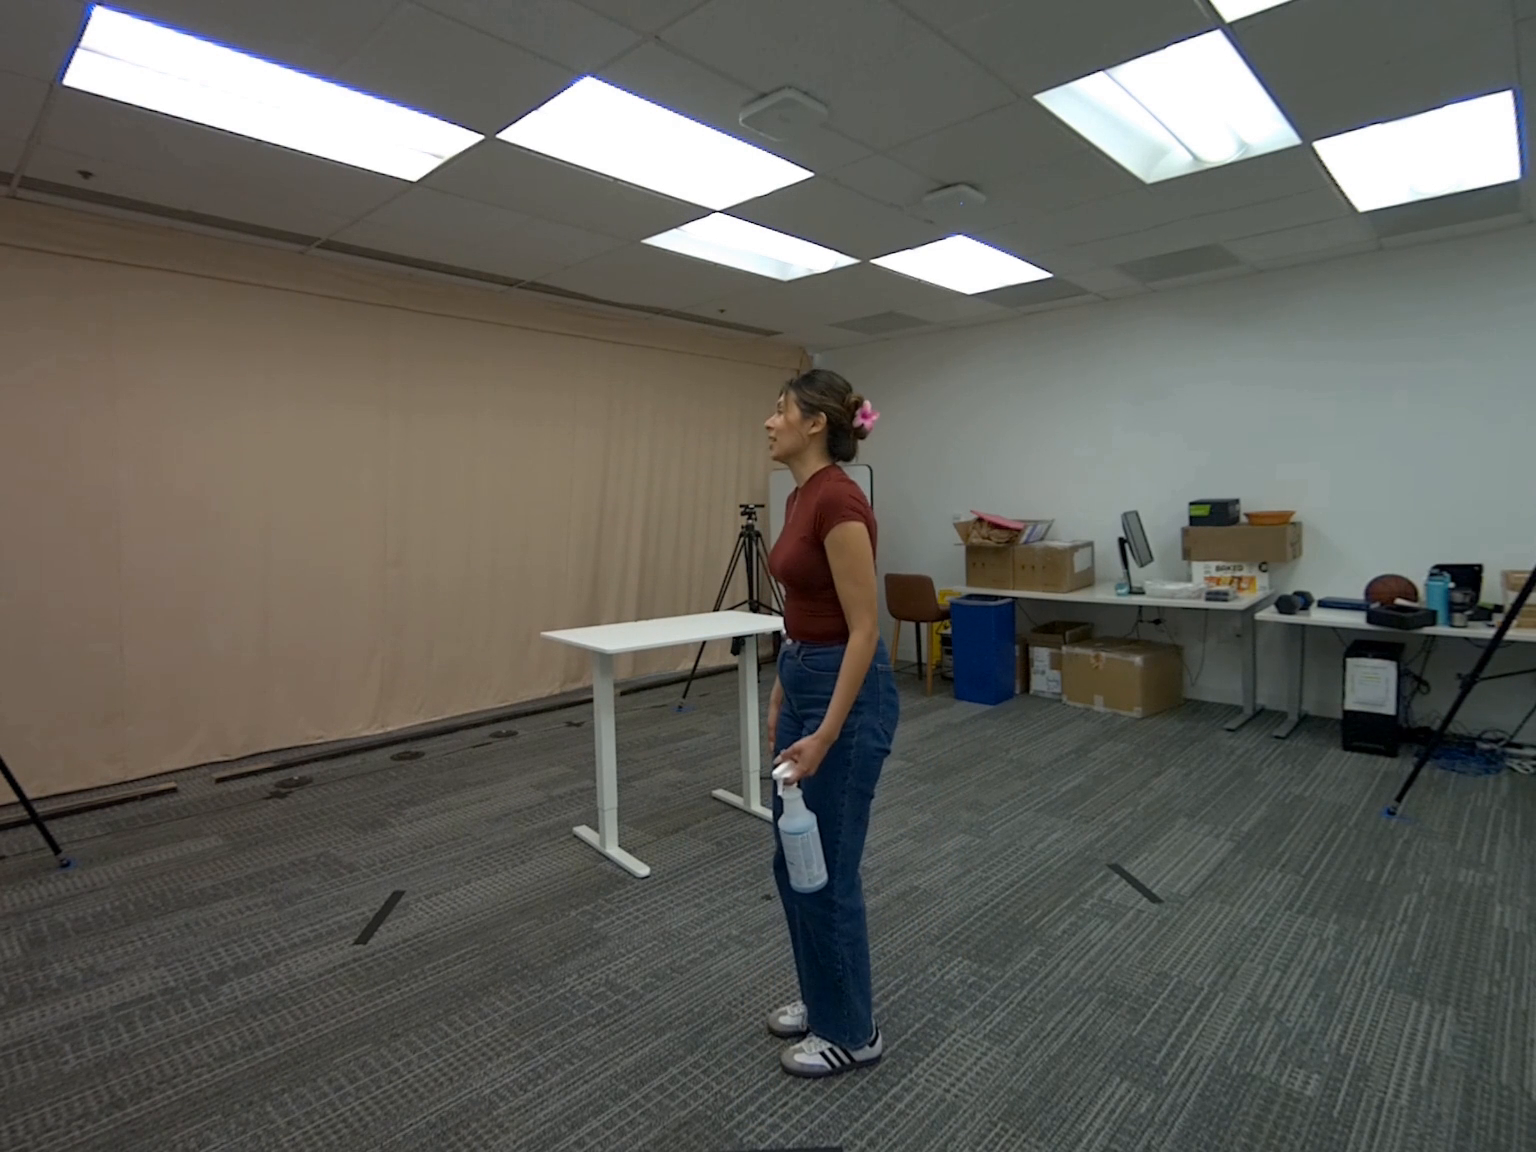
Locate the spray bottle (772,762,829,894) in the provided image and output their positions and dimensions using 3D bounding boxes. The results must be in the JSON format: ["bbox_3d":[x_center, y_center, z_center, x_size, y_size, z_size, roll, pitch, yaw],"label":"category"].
[{"bbox_3d":[0.068,0.564,1.899,0.088,0.295,0.090,-14,11,-33],"label":"spray bottle"}]
